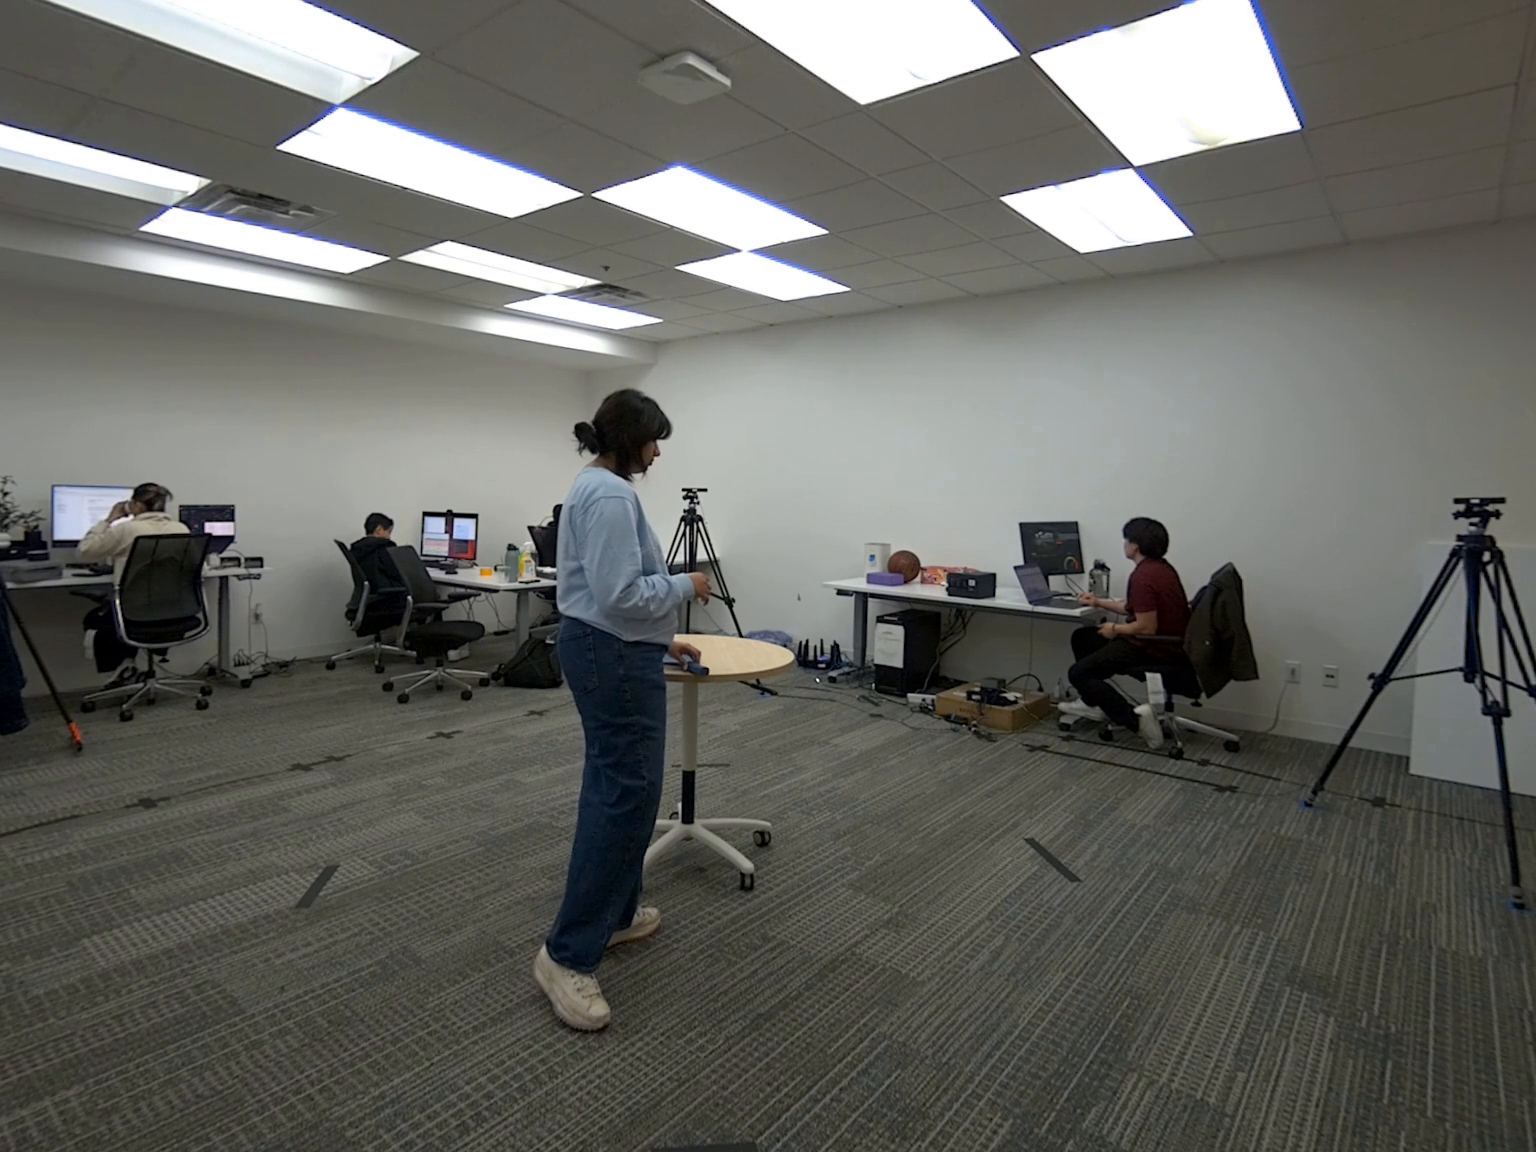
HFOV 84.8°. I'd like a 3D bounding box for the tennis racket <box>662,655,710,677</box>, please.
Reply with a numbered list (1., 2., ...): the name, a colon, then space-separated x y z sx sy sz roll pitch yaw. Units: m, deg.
1. tennis racket: -0.324 0.294 2.923 0.208 0.032 0.445 -1 4 -29
